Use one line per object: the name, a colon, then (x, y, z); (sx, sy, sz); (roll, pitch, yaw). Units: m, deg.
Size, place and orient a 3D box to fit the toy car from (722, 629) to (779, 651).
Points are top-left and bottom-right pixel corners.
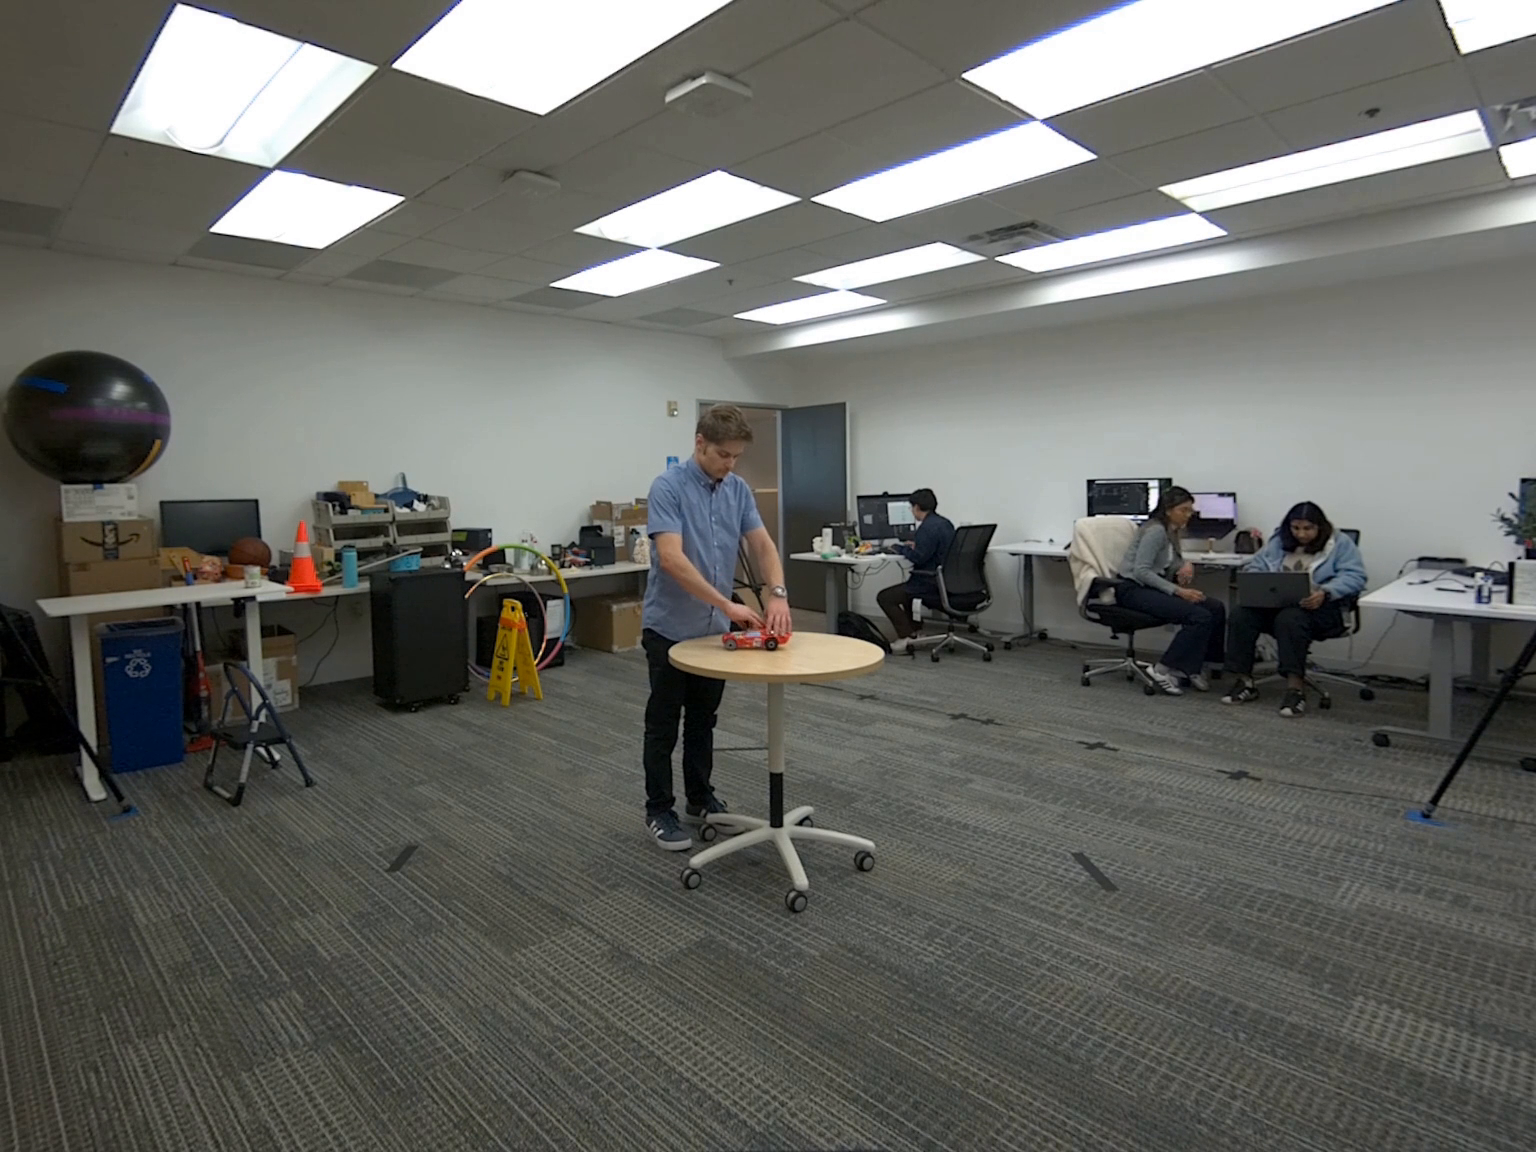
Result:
toy car: (-0.032, 0.231, 3.090); (0.255, 0.083, 0.130); (-12, 6, 5)
